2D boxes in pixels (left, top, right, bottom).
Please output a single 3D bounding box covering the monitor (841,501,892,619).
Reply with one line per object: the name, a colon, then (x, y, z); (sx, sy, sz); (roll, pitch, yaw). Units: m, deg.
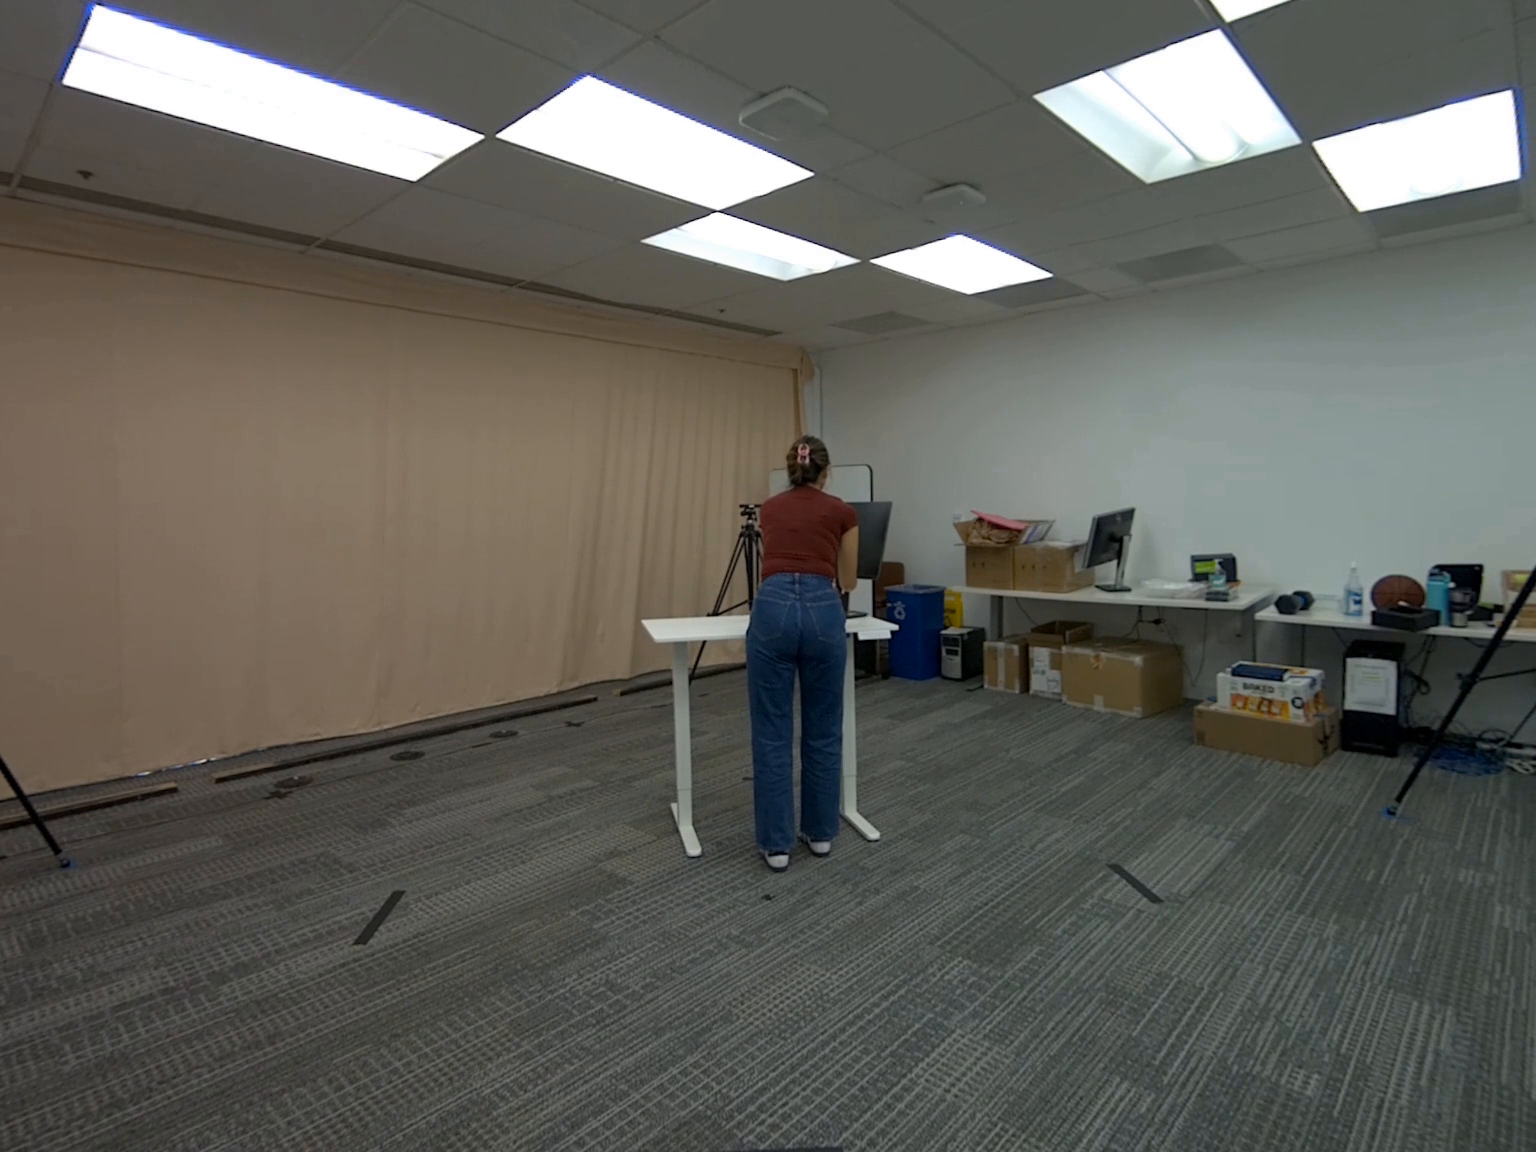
monitor: (0.321, -0.078, 3.847); (0.557, 0.522, 0.181); (3, 0, 41)
